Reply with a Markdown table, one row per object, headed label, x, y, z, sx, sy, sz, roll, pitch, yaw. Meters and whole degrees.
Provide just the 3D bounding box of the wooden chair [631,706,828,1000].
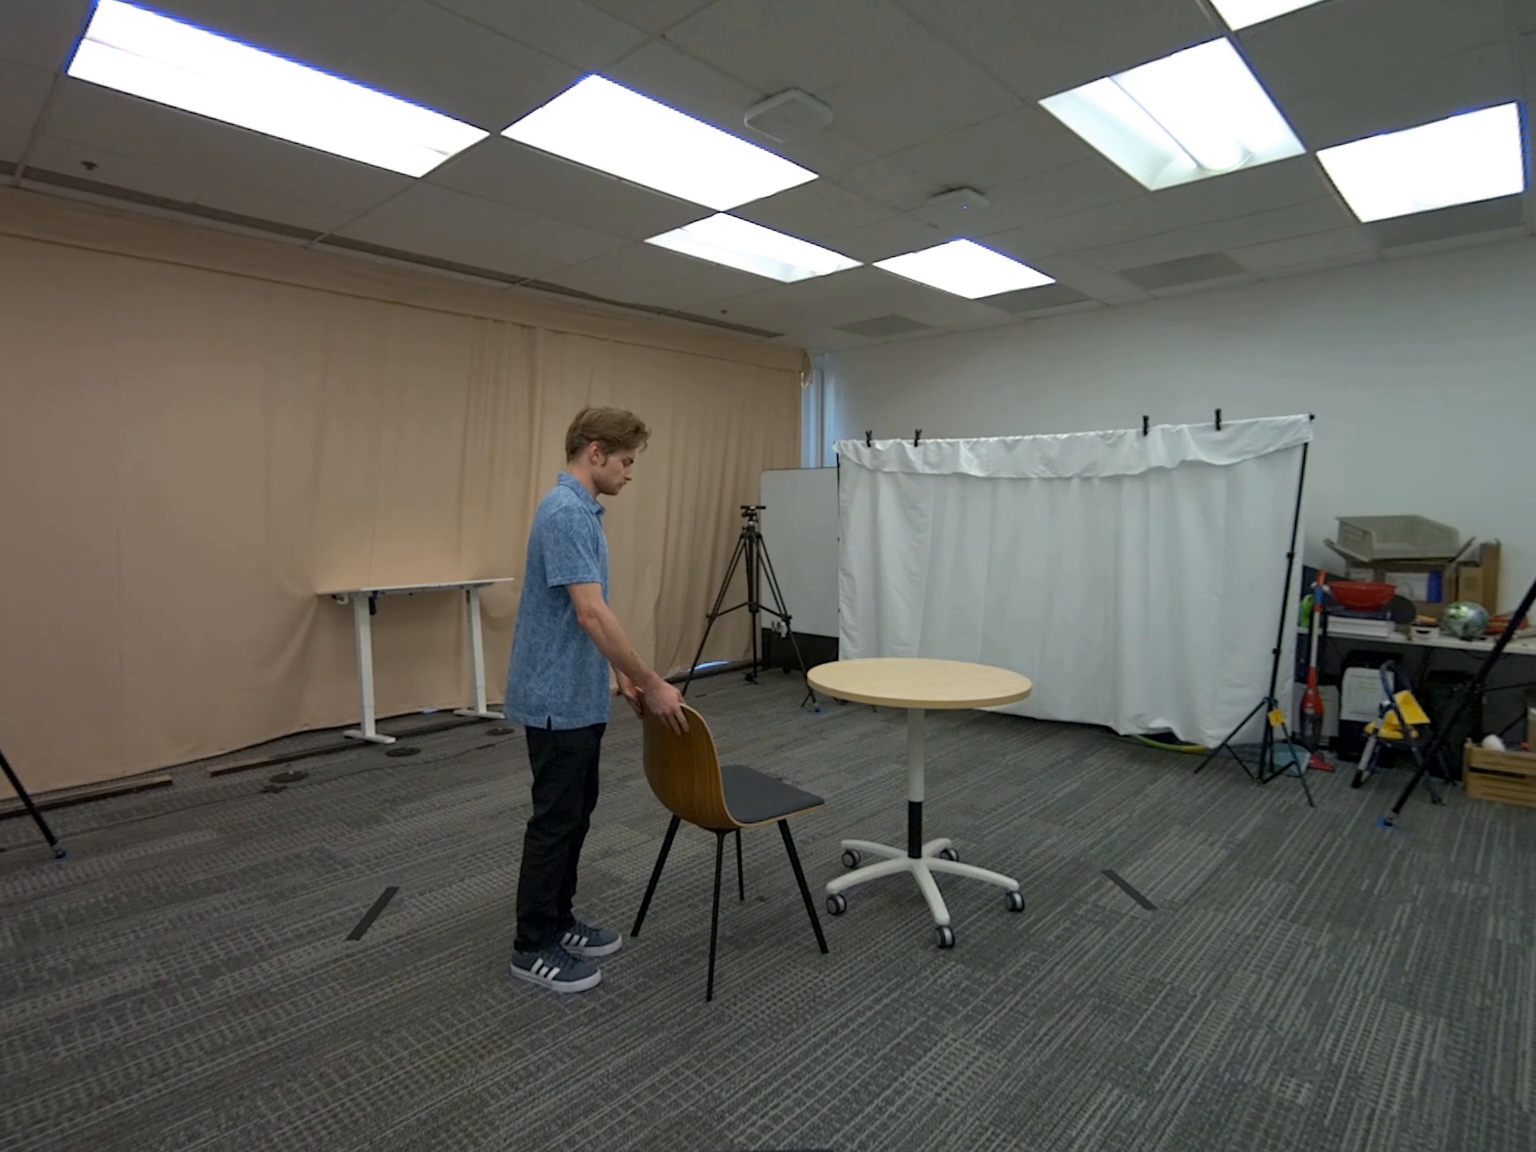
| label | x | y | z | sx | sy | sz | roll | pitch | yaw |
| --- | --- | --- | --- | --- | --- | --- | --- | --- | --- |
| wooden chair | -0.119 | 0.746 | 2.648 | 0.509 | 0.874 | 0.493 | -8 | 7 | -37 |
